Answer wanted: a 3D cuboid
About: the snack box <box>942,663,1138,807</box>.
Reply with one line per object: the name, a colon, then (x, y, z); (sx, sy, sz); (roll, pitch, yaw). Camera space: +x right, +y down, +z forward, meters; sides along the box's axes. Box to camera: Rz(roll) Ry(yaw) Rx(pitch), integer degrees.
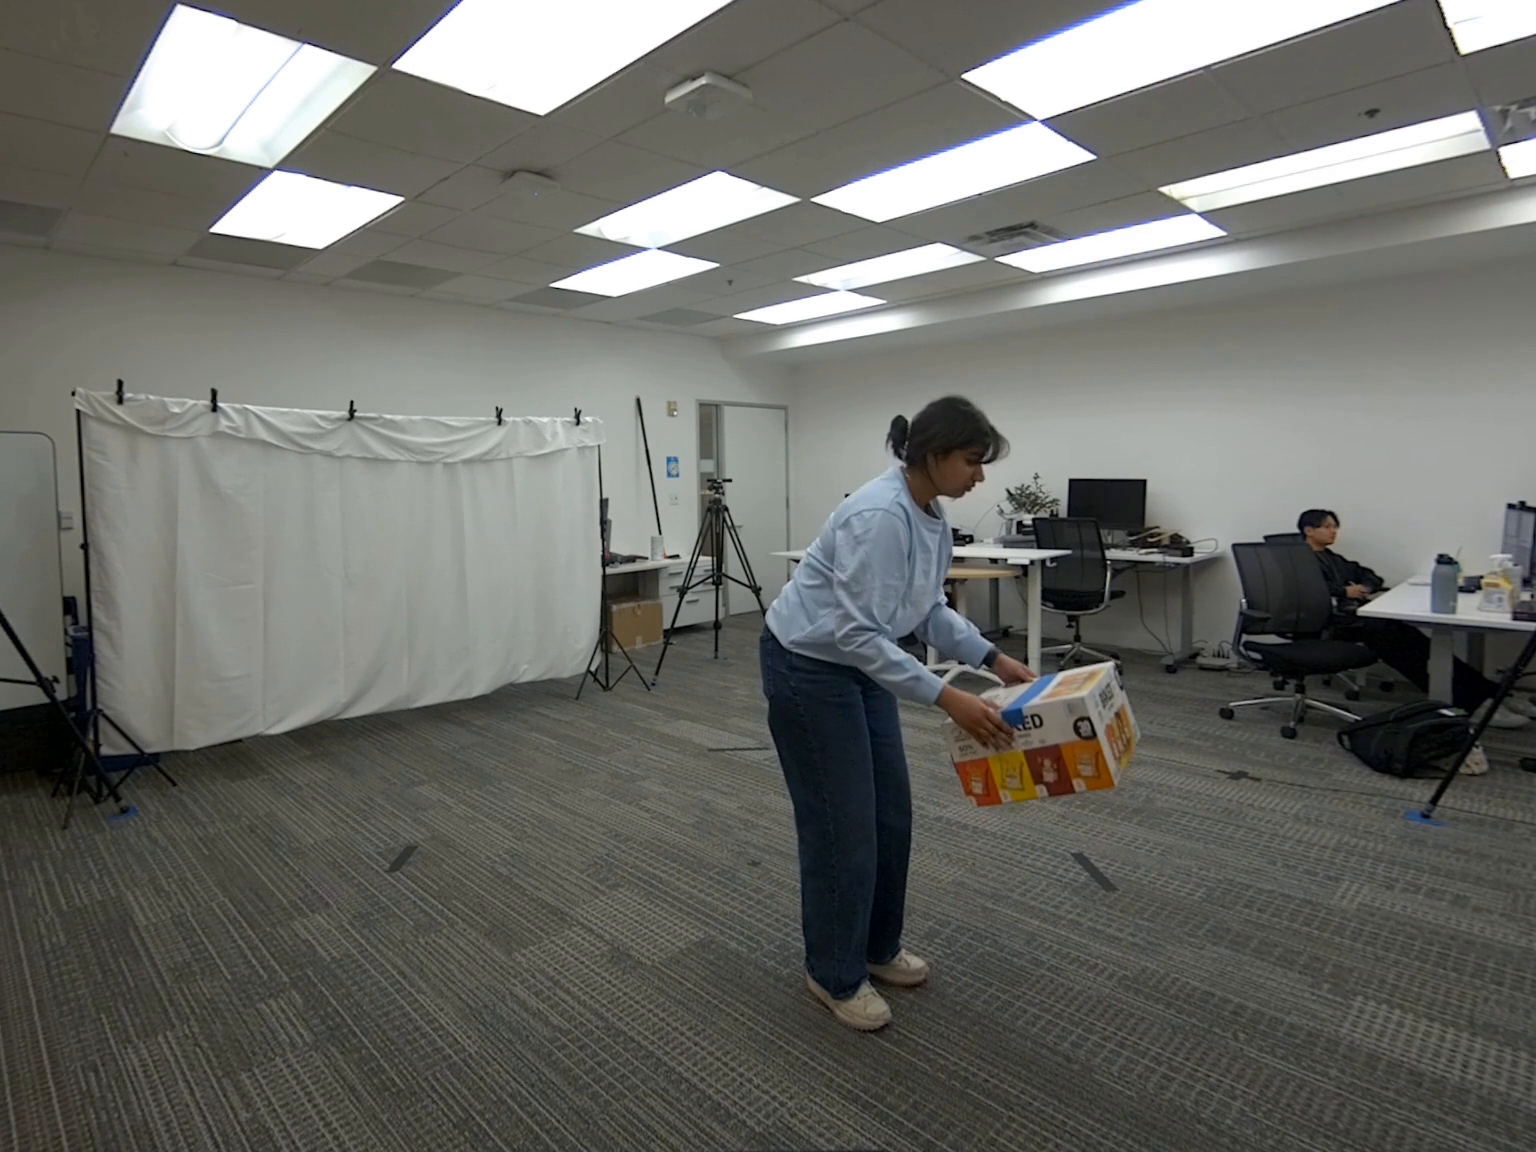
snack box: (0.672, 0.383, 2.095); (0.346, 0.207, 0.396); (-19, -5, 32)
